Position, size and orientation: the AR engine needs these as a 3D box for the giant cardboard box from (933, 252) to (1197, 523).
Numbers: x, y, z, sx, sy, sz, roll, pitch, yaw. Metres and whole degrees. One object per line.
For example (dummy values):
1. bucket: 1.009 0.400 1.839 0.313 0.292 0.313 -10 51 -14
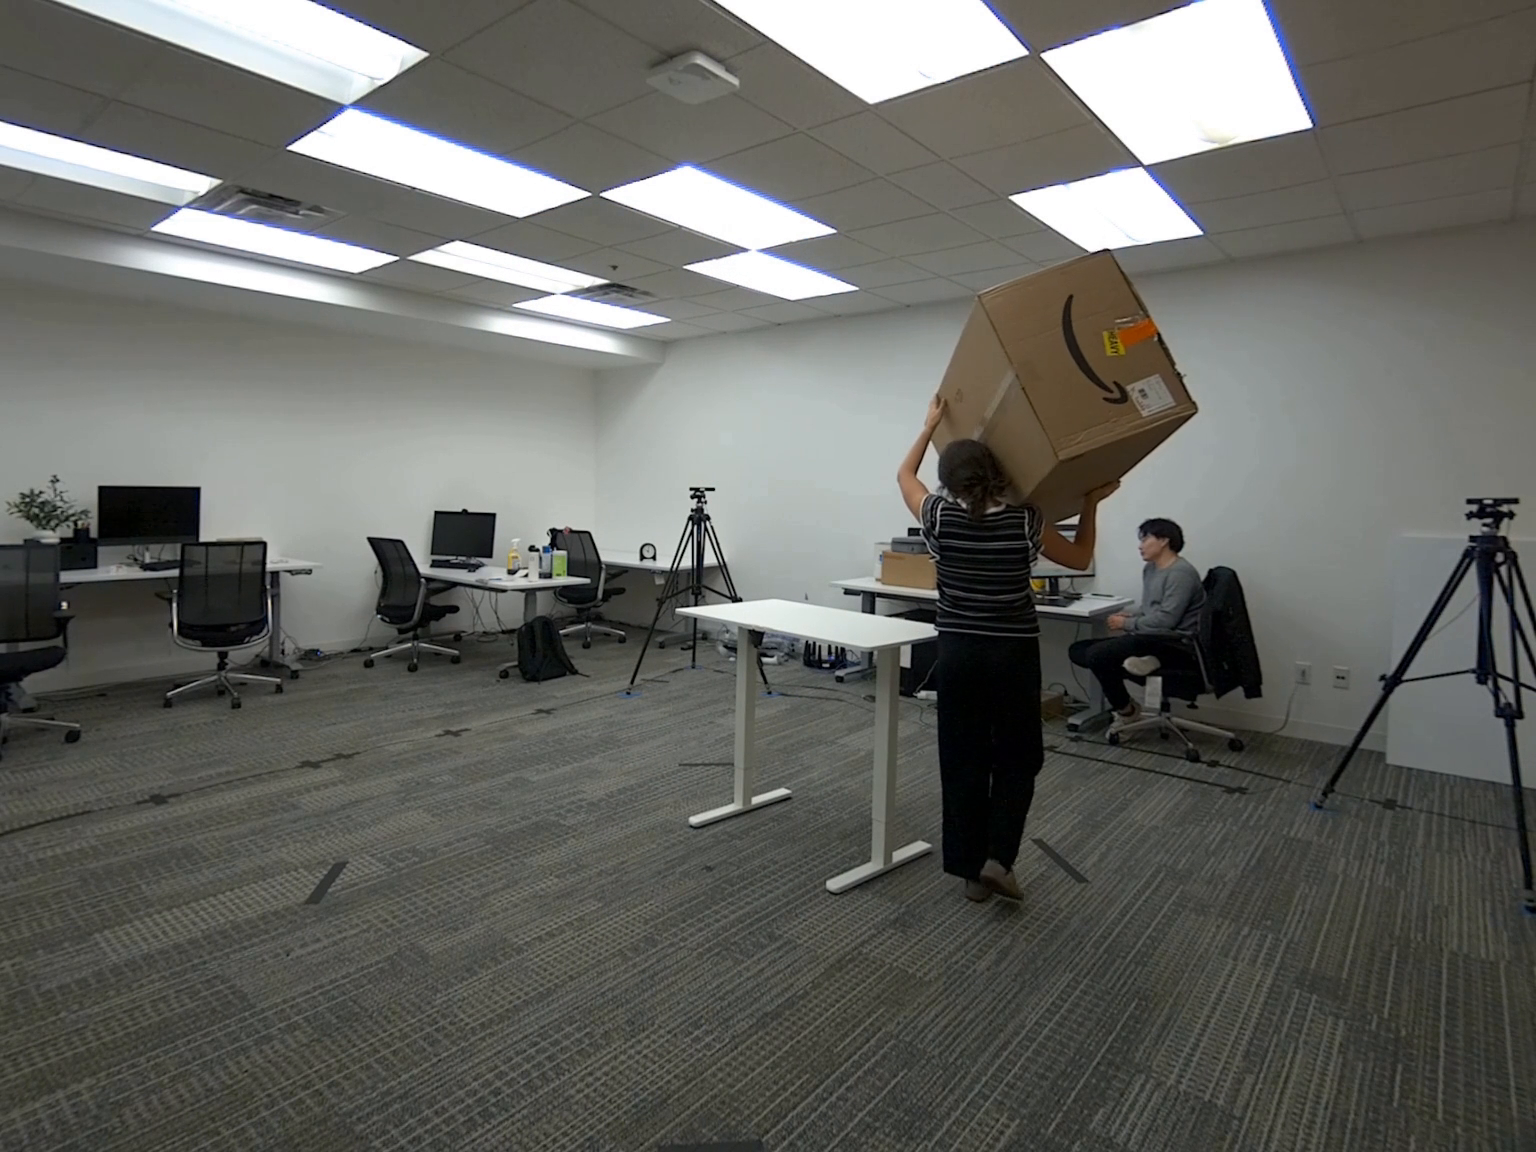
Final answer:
1. giant cardboard box: 0.919 -0.546 2.956 0.426 0.588 1.008 -20 -13 -2
